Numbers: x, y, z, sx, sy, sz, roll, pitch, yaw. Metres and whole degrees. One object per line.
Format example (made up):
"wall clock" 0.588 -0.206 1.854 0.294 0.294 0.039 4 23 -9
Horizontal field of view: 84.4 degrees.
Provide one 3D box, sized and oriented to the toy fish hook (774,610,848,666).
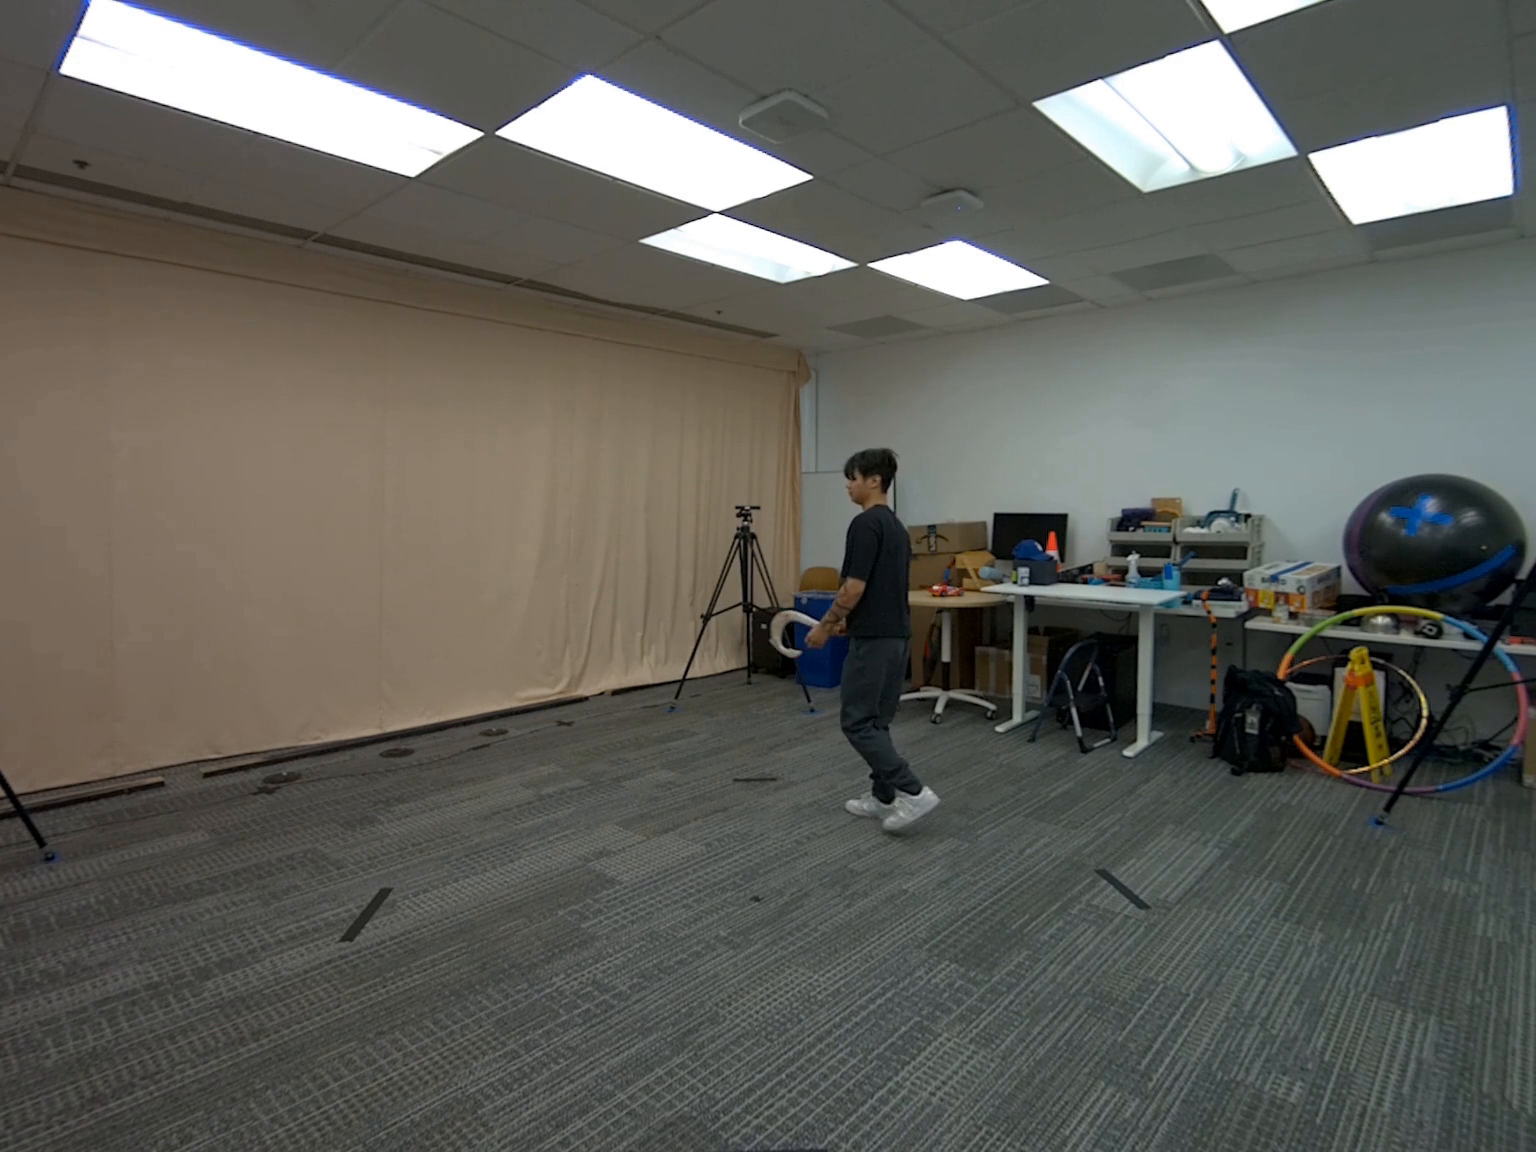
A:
"toy fish hook" 0.236 0.291 4.044 0.523 0.224 0.047 2 4 44
